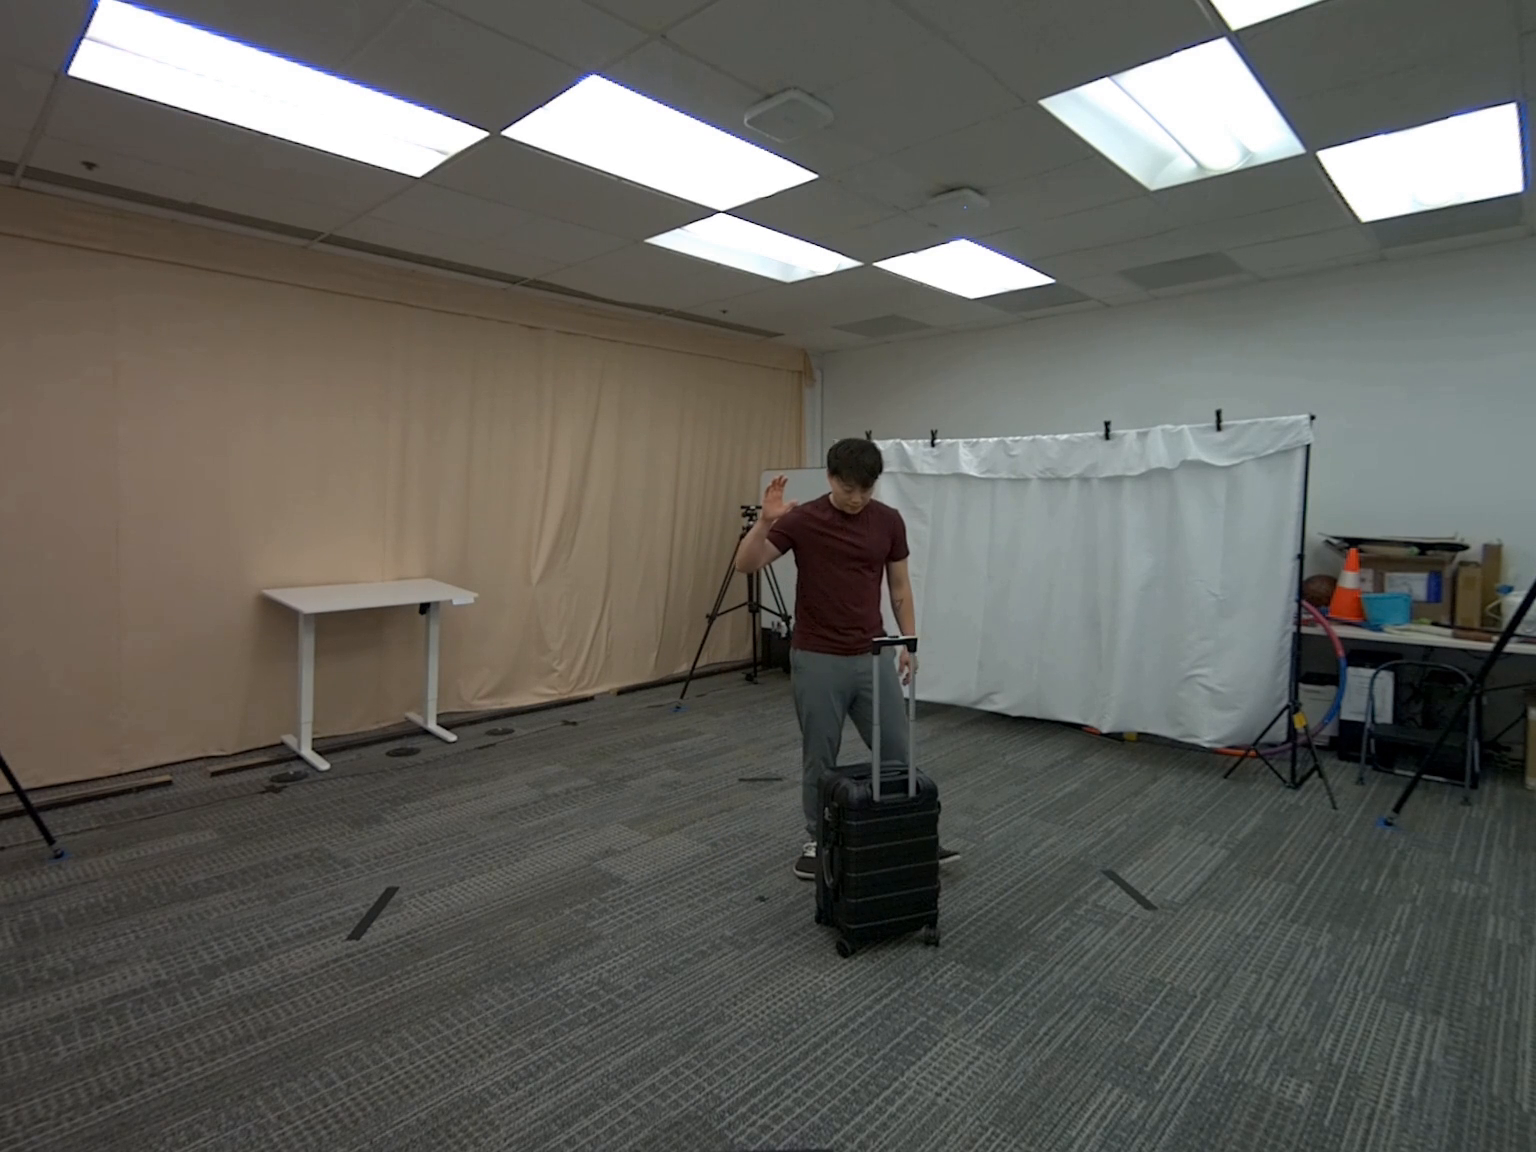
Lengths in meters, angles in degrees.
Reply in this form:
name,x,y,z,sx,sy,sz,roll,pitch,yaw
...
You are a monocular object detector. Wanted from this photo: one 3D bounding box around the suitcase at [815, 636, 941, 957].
name,x,y,z,sx,sy,sz,roll,pitch,yaw
suitcase,0.351,0.683,2.722,0.377,0.977,0.262,0,2,-16
